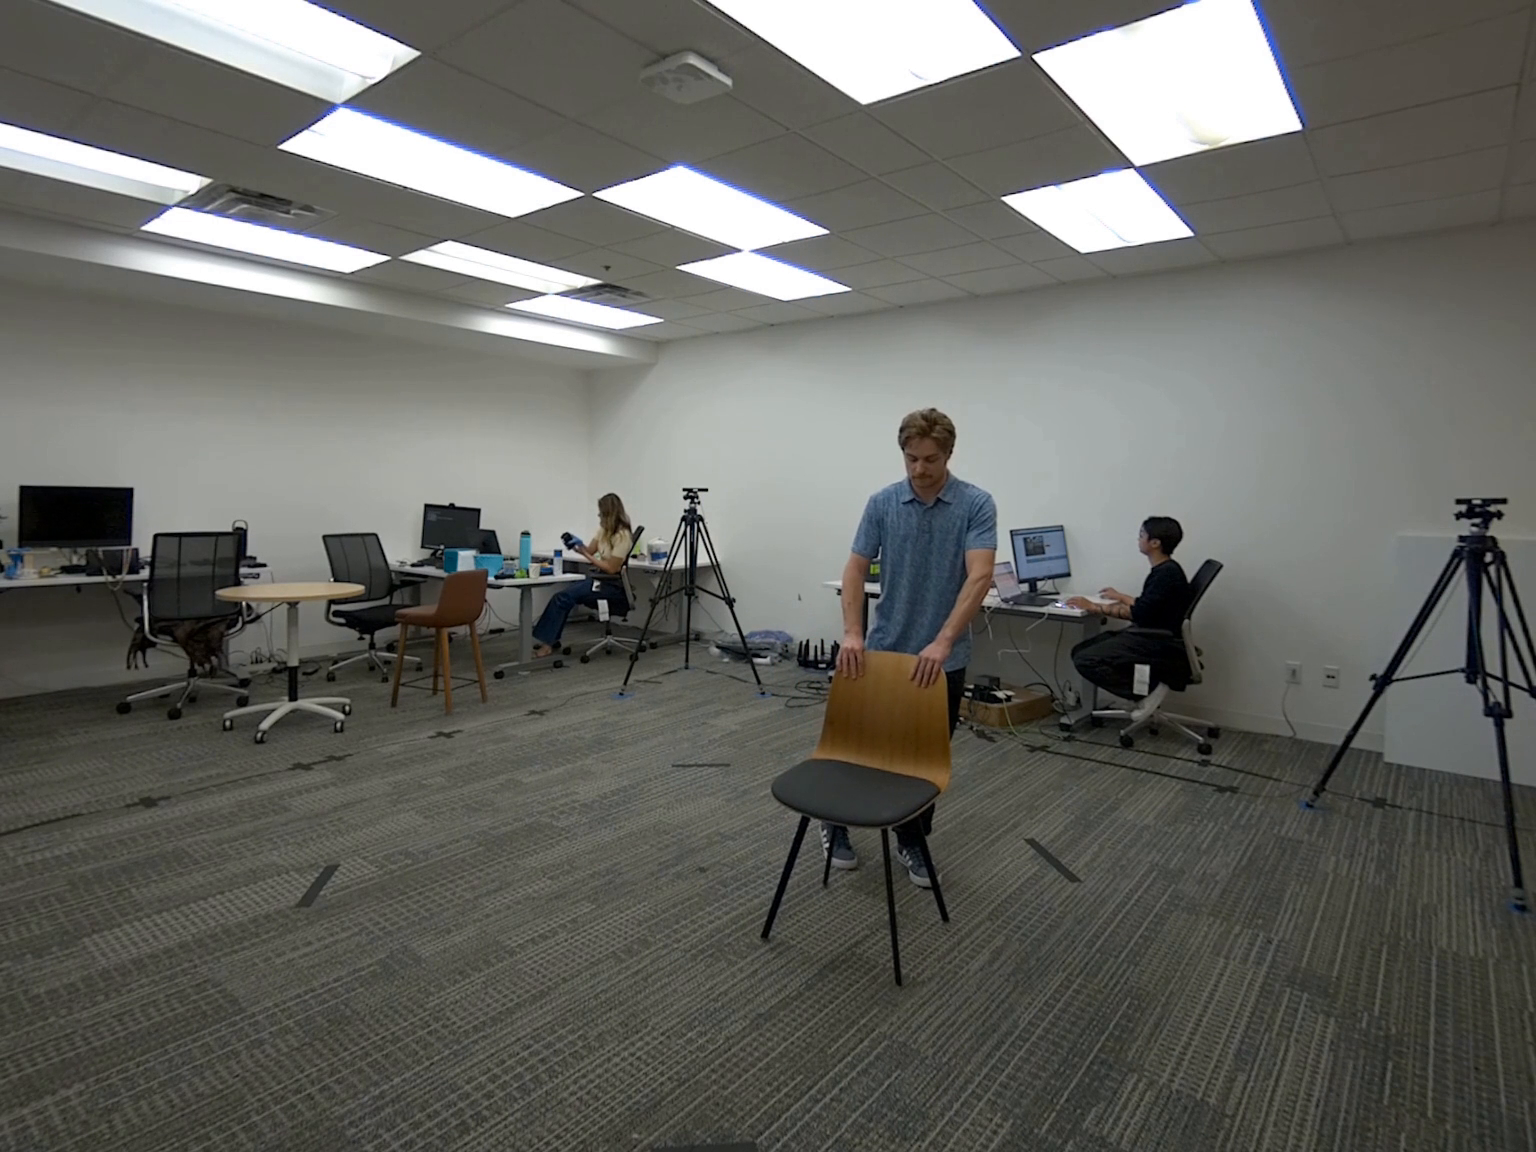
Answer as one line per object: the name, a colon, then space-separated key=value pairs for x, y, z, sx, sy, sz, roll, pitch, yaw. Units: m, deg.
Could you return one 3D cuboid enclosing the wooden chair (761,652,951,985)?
wooden chair: x=0.286 y=0.692 z=2.671 sx=0.492 sy=0.878 sz=0.507 roll=4 pitch=-1 yaw=30
